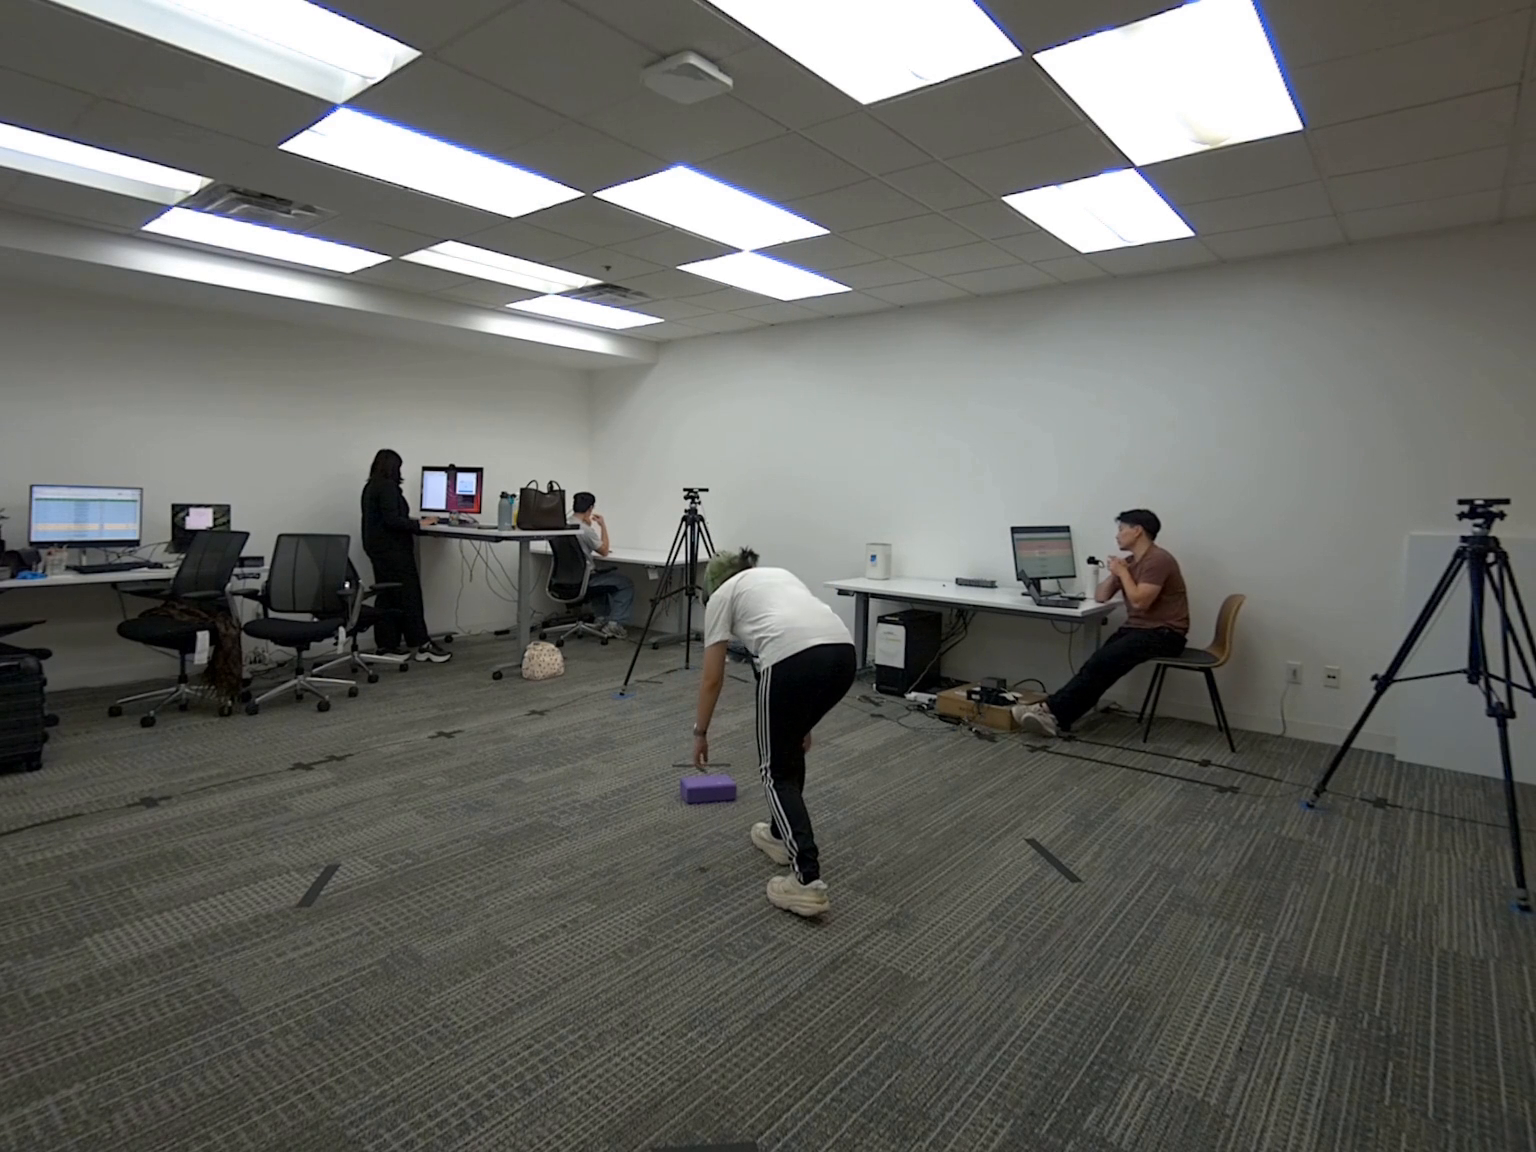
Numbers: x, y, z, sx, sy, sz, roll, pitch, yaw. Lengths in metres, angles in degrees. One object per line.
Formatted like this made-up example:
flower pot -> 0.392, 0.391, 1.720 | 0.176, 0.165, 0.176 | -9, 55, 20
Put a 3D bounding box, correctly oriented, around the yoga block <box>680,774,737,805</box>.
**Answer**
yoga block -> -0.281, 0.956, 3.843 | 0.225, 0.076, 0.152 | -1, 5, -17
